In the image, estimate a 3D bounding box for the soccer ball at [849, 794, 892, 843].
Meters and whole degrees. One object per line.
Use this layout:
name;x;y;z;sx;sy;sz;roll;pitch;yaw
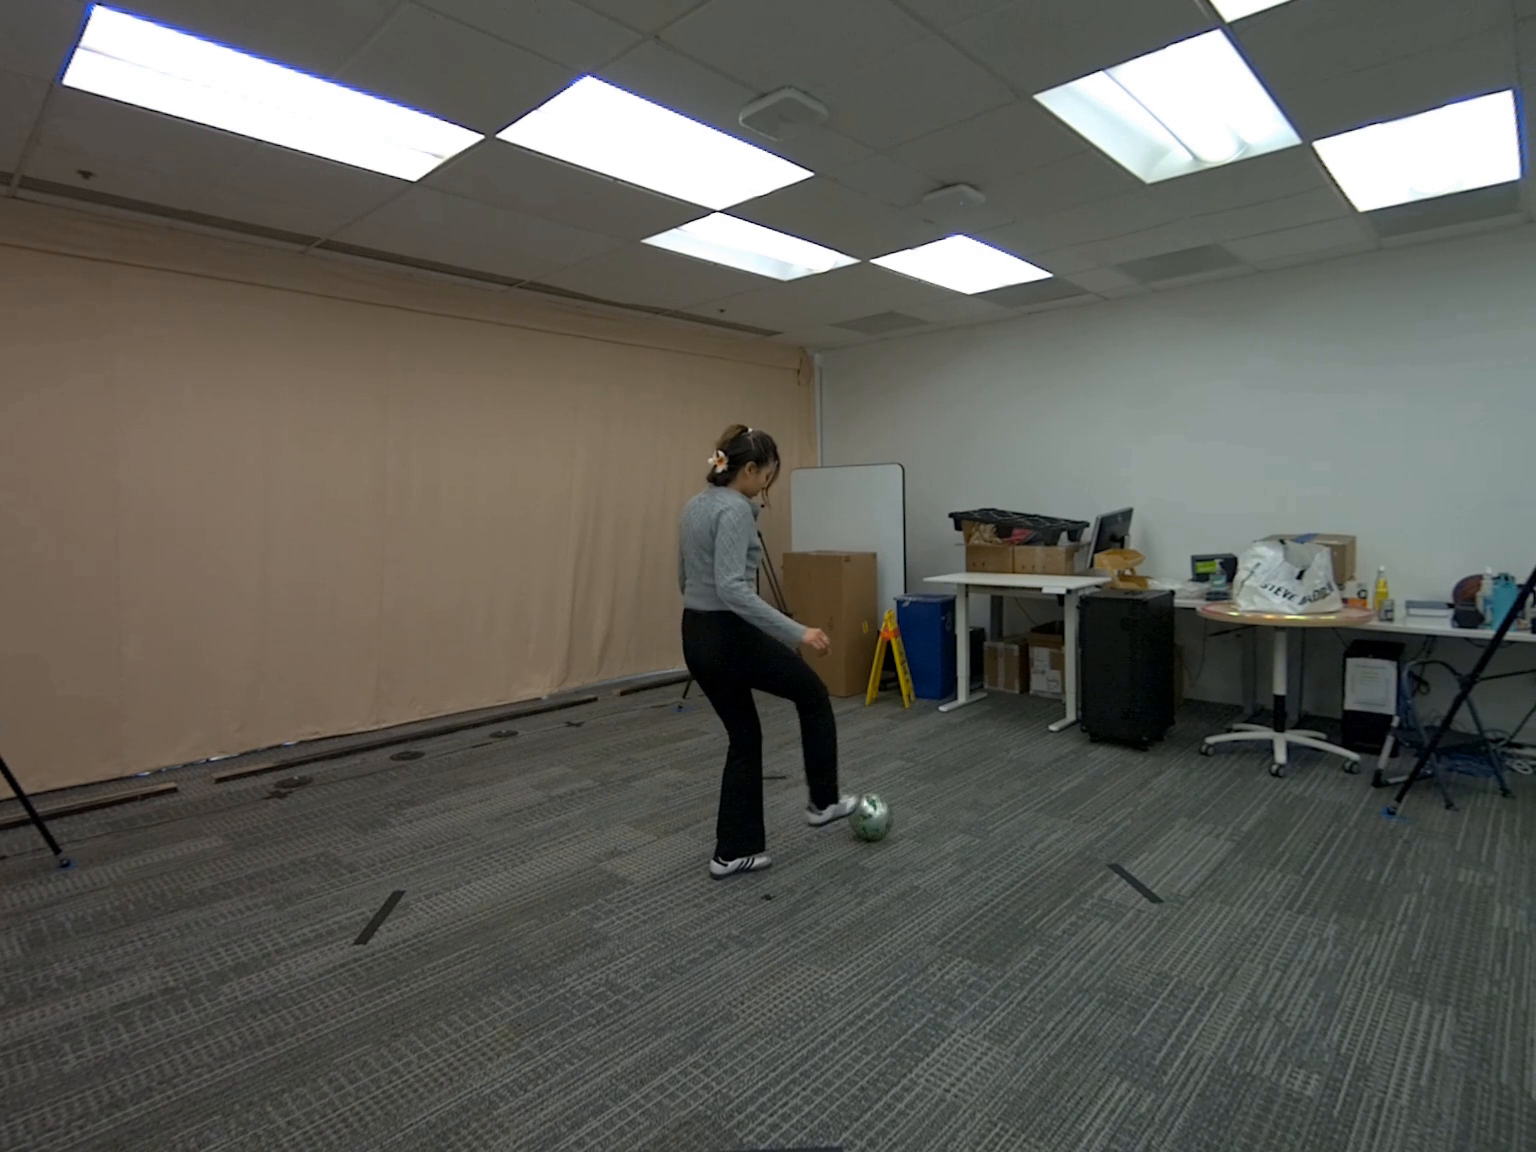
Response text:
soccer ball;0.424;0.996;3.473;0.187;0.187;0.188;-1;4;-2
